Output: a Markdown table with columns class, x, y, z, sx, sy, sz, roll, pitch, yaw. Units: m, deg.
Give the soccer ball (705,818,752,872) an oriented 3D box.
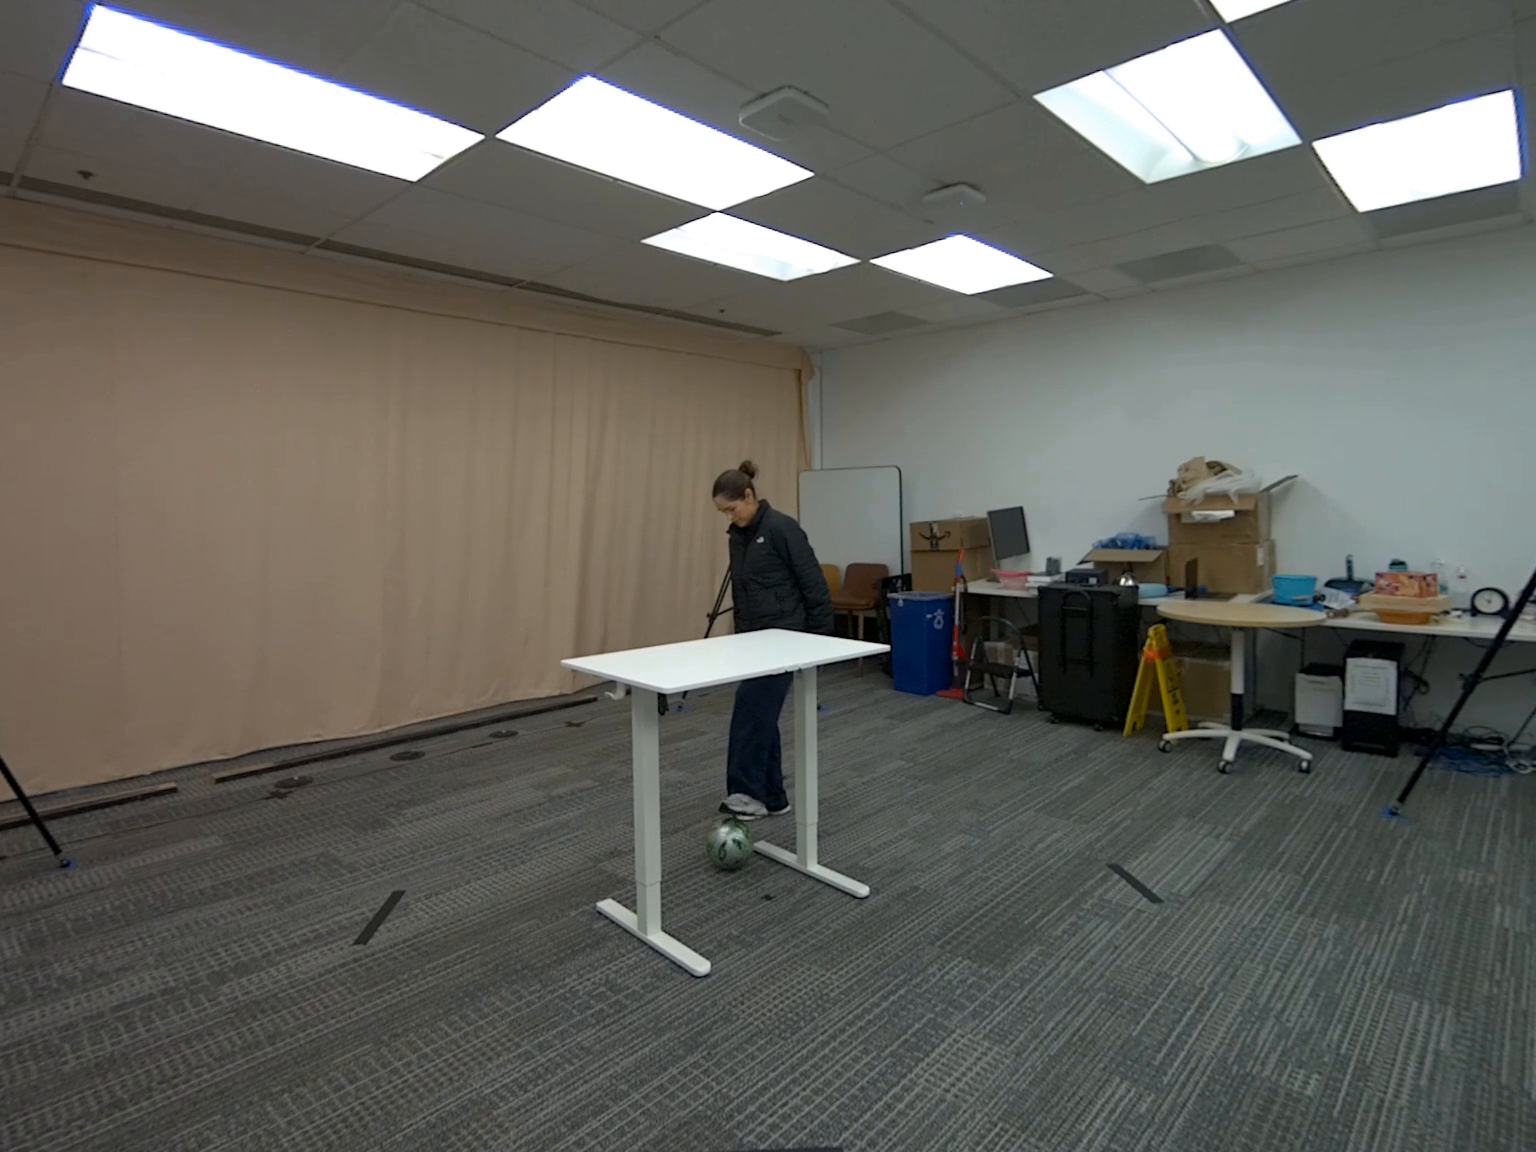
| class | x | y | z | sx | sy | sz | roll | pitch | yaw |
| --- | --- | --- | --- | --- | --- | --- | --- | --- | --- |
| soccer ball | -0.146 | 1.032 | 3.232 | 0.187 | 0.187 | 0.188 | -1 | 4 | -2 |
